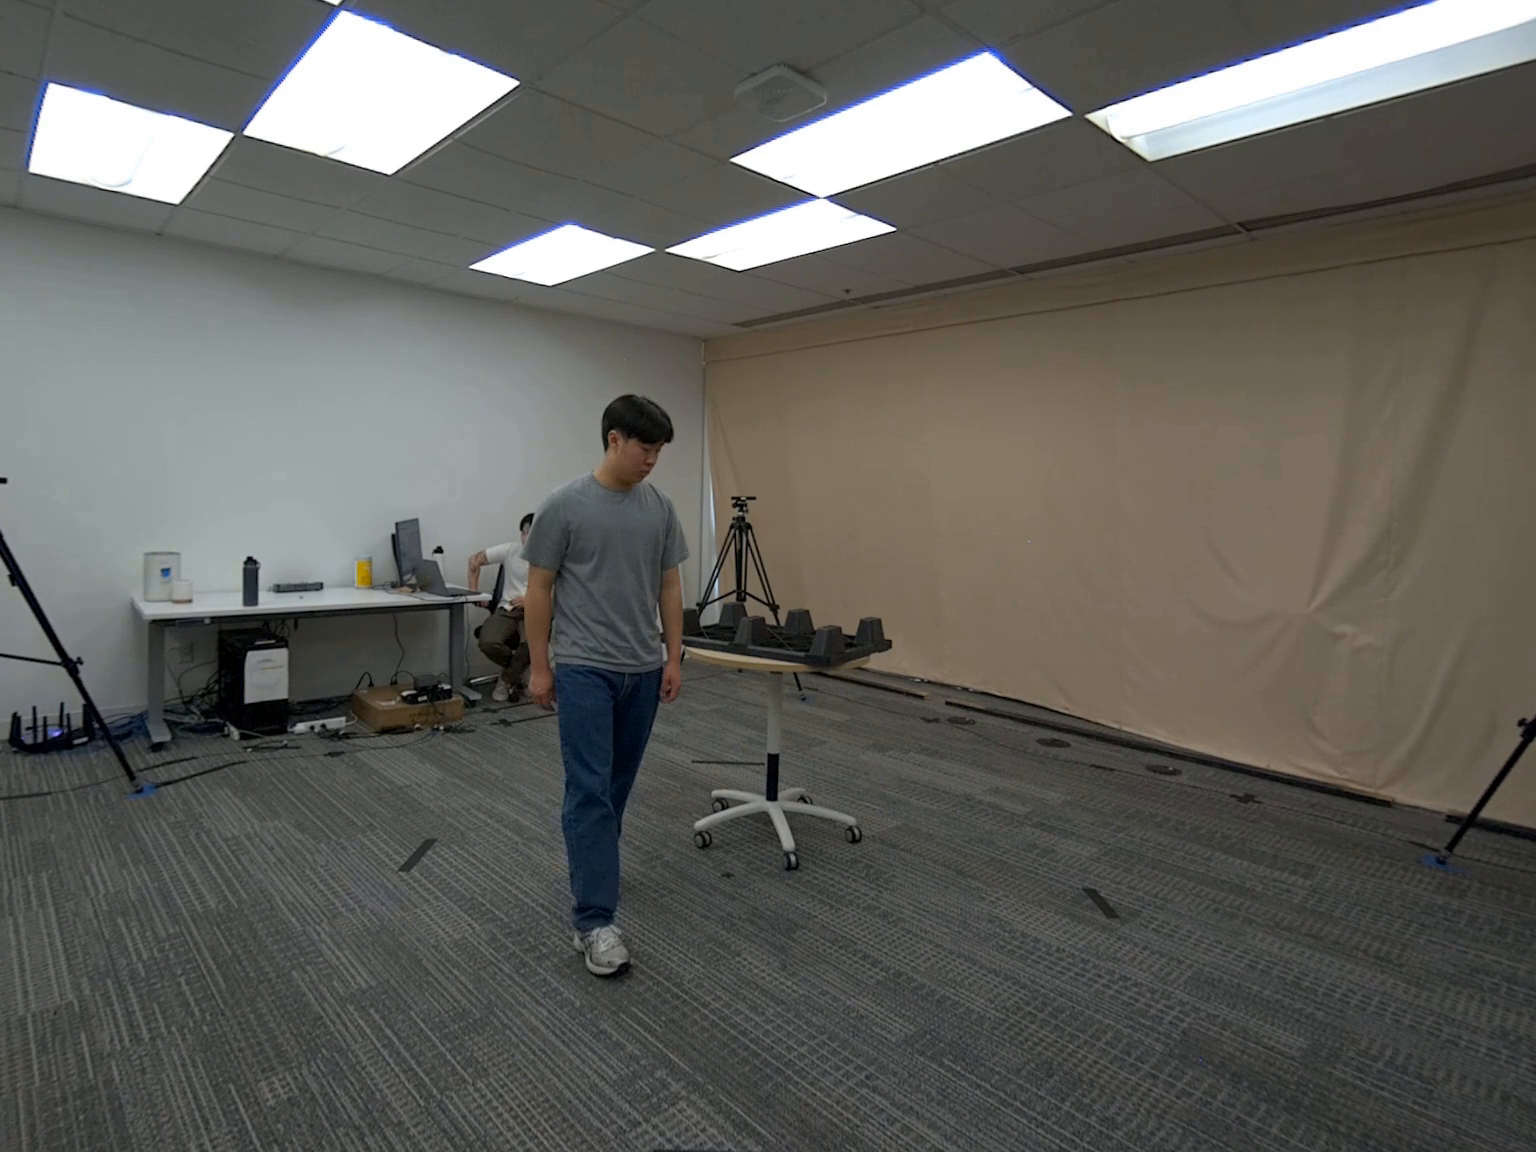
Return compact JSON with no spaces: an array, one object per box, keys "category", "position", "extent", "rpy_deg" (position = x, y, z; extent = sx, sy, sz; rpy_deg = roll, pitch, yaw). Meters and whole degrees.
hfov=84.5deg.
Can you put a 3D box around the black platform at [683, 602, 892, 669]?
[{"category":"black platform","position":[0.023,0.227,3.520],"extent":[0.824,0.143,0.592],"rpy_deg":[5,5,32]}]
